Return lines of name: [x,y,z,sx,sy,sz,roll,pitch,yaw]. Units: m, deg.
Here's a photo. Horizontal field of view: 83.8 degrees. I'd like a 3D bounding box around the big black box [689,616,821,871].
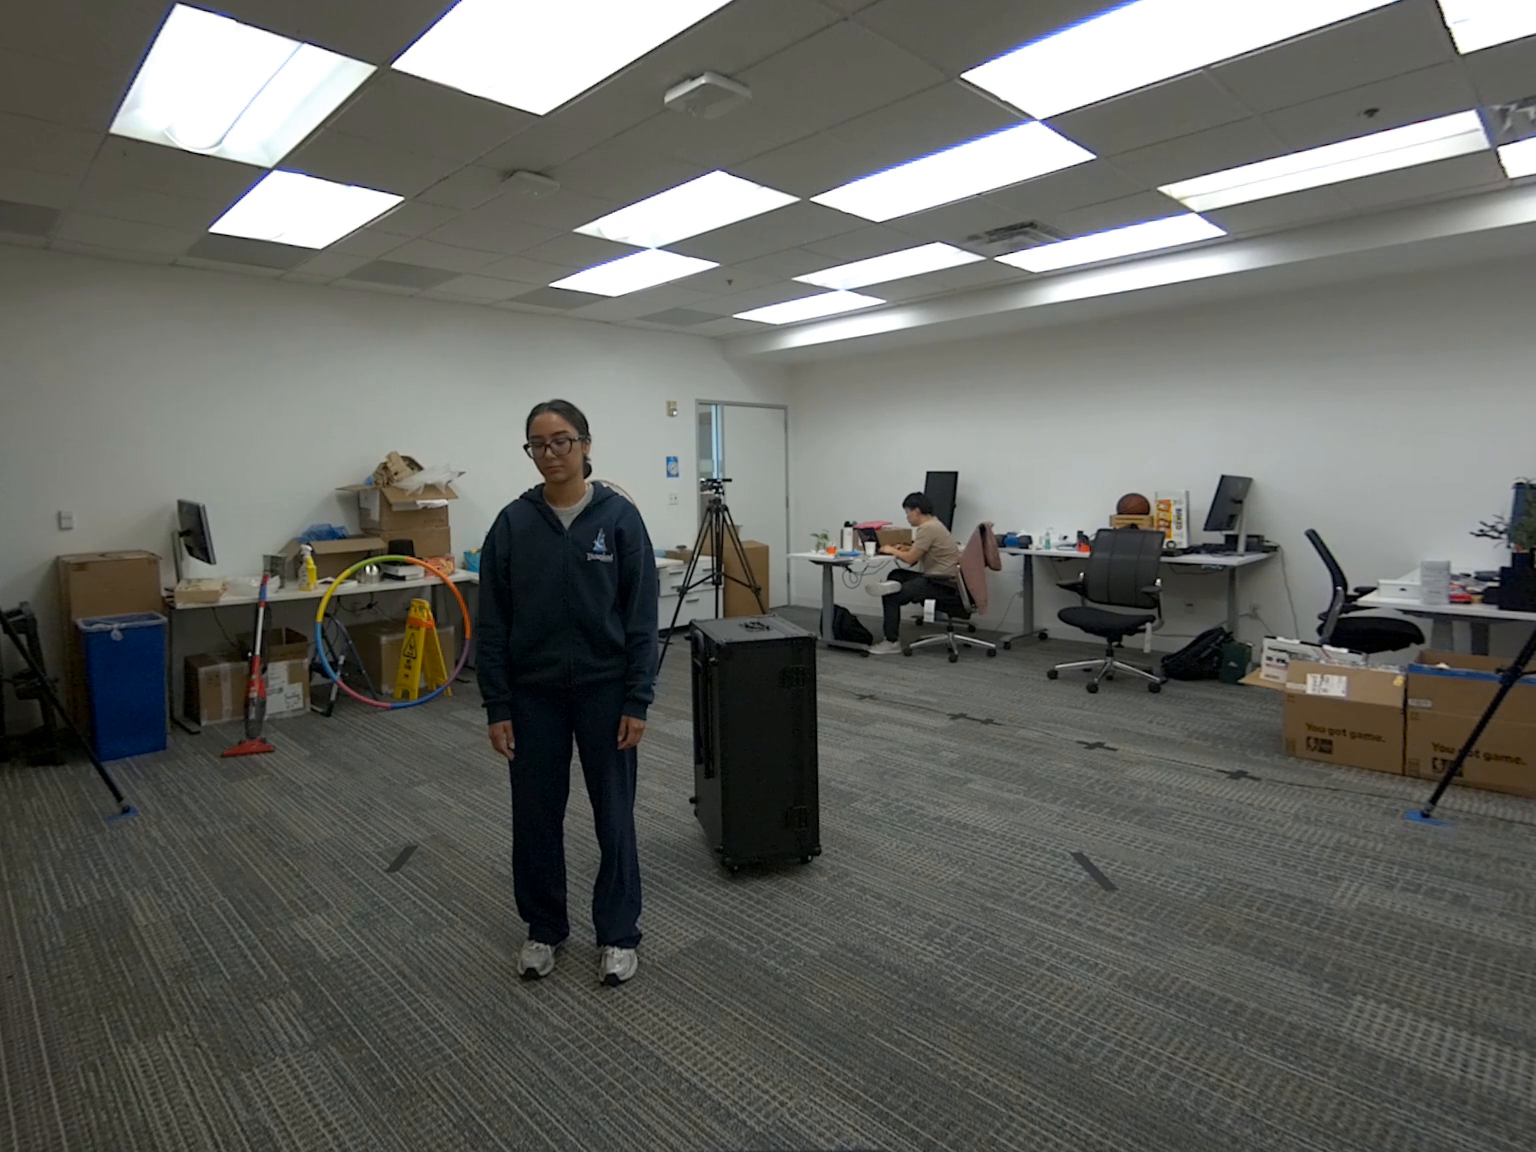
big black box: [-0.066,0.613,3.164,0.391,0.857,0.530,-3,5,-15]
